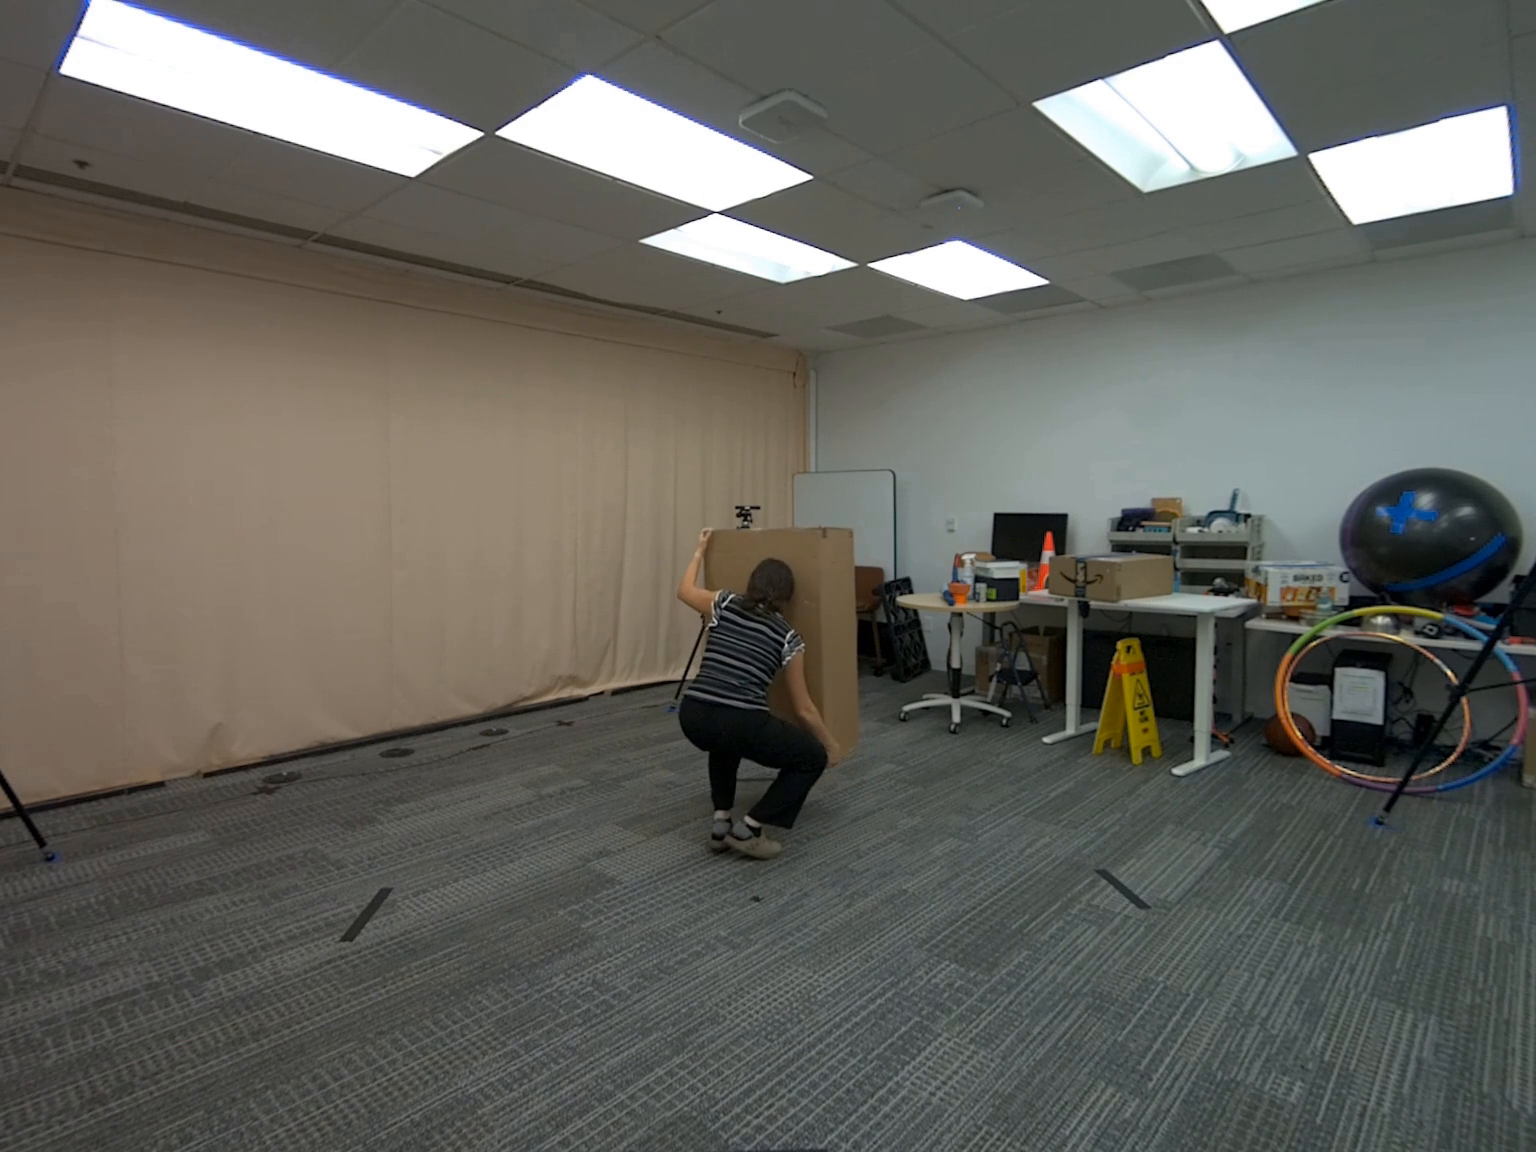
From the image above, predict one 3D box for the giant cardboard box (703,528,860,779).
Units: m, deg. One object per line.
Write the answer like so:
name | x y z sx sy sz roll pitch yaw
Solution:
giant cardboard box | 0.066 0.293 3.874 0.593 1.026 0.415 -1 0 27
